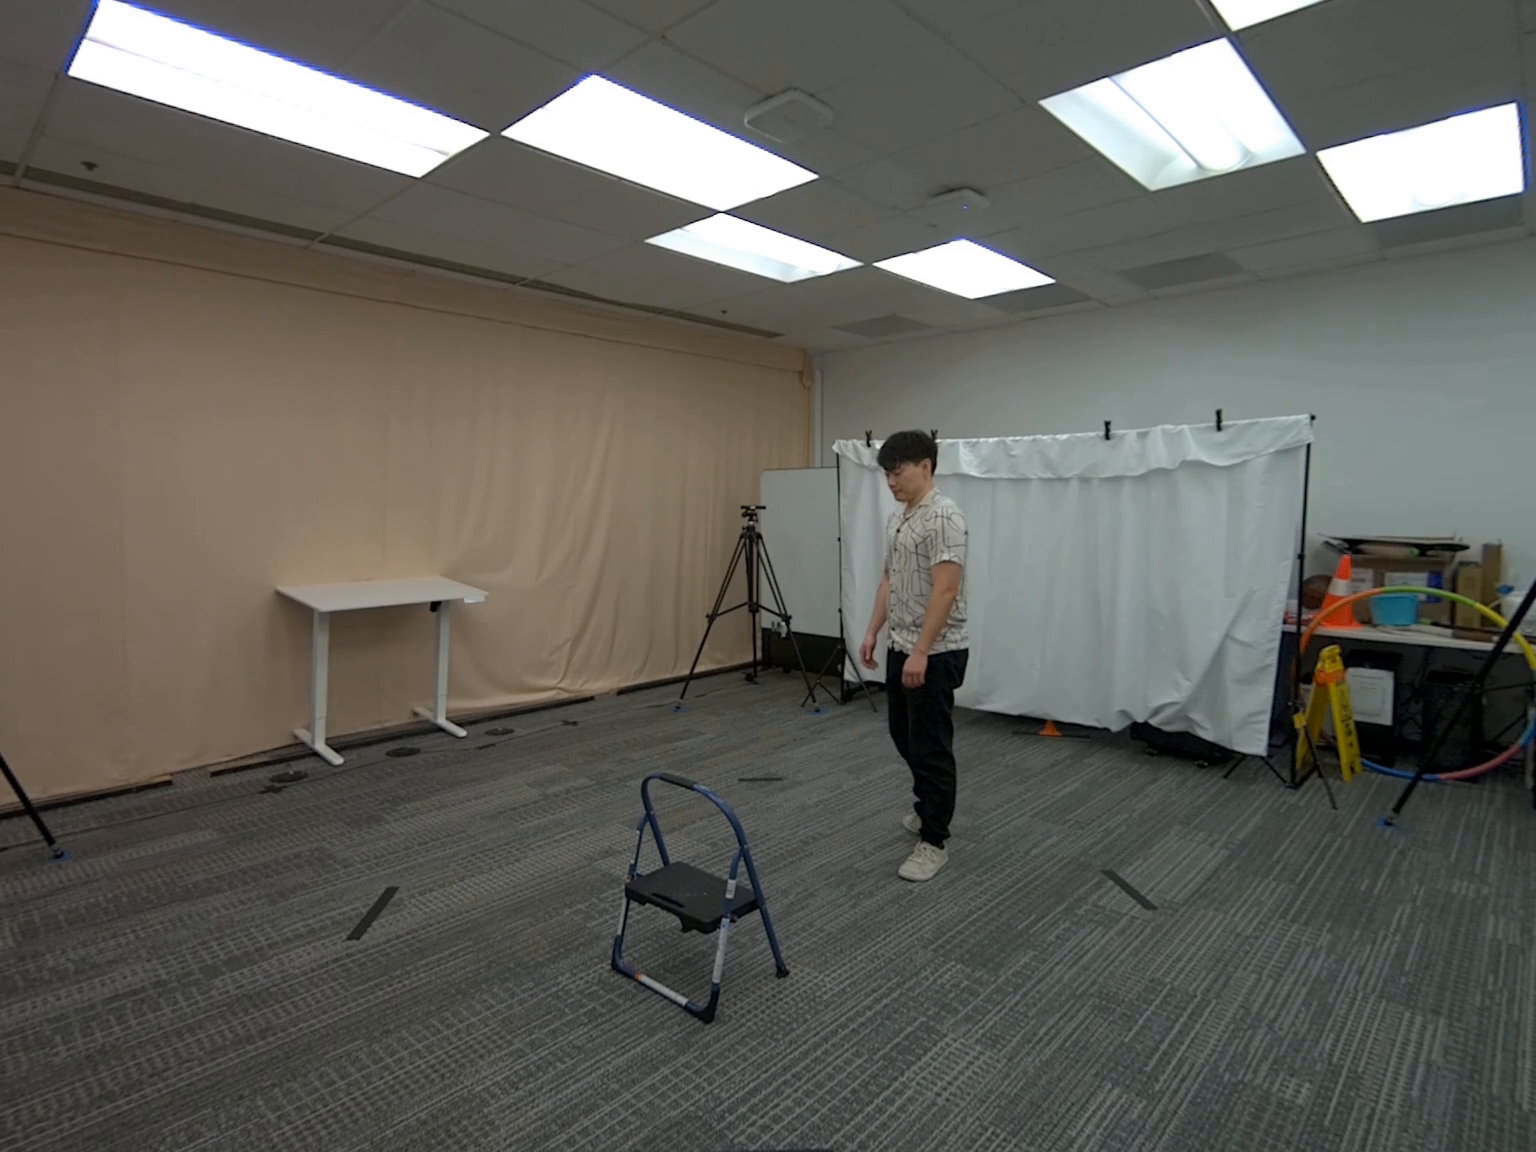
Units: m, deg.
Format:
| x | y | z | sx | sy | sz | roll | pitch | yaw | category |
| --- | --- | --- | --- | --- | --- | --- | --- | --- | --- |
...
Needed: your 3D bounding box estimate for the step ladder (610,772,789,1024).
| x | y | z | sx | sy | sz | roll | pitch | yaw | category |
| --- | --- | --- | --- | --- | --- | --- | --- | --- | --- |
| -0.208 | 0.882 | 2.505 | 0.445 | 0.605 | 0.339 | 3 | 4 | 40 | step ladder |
